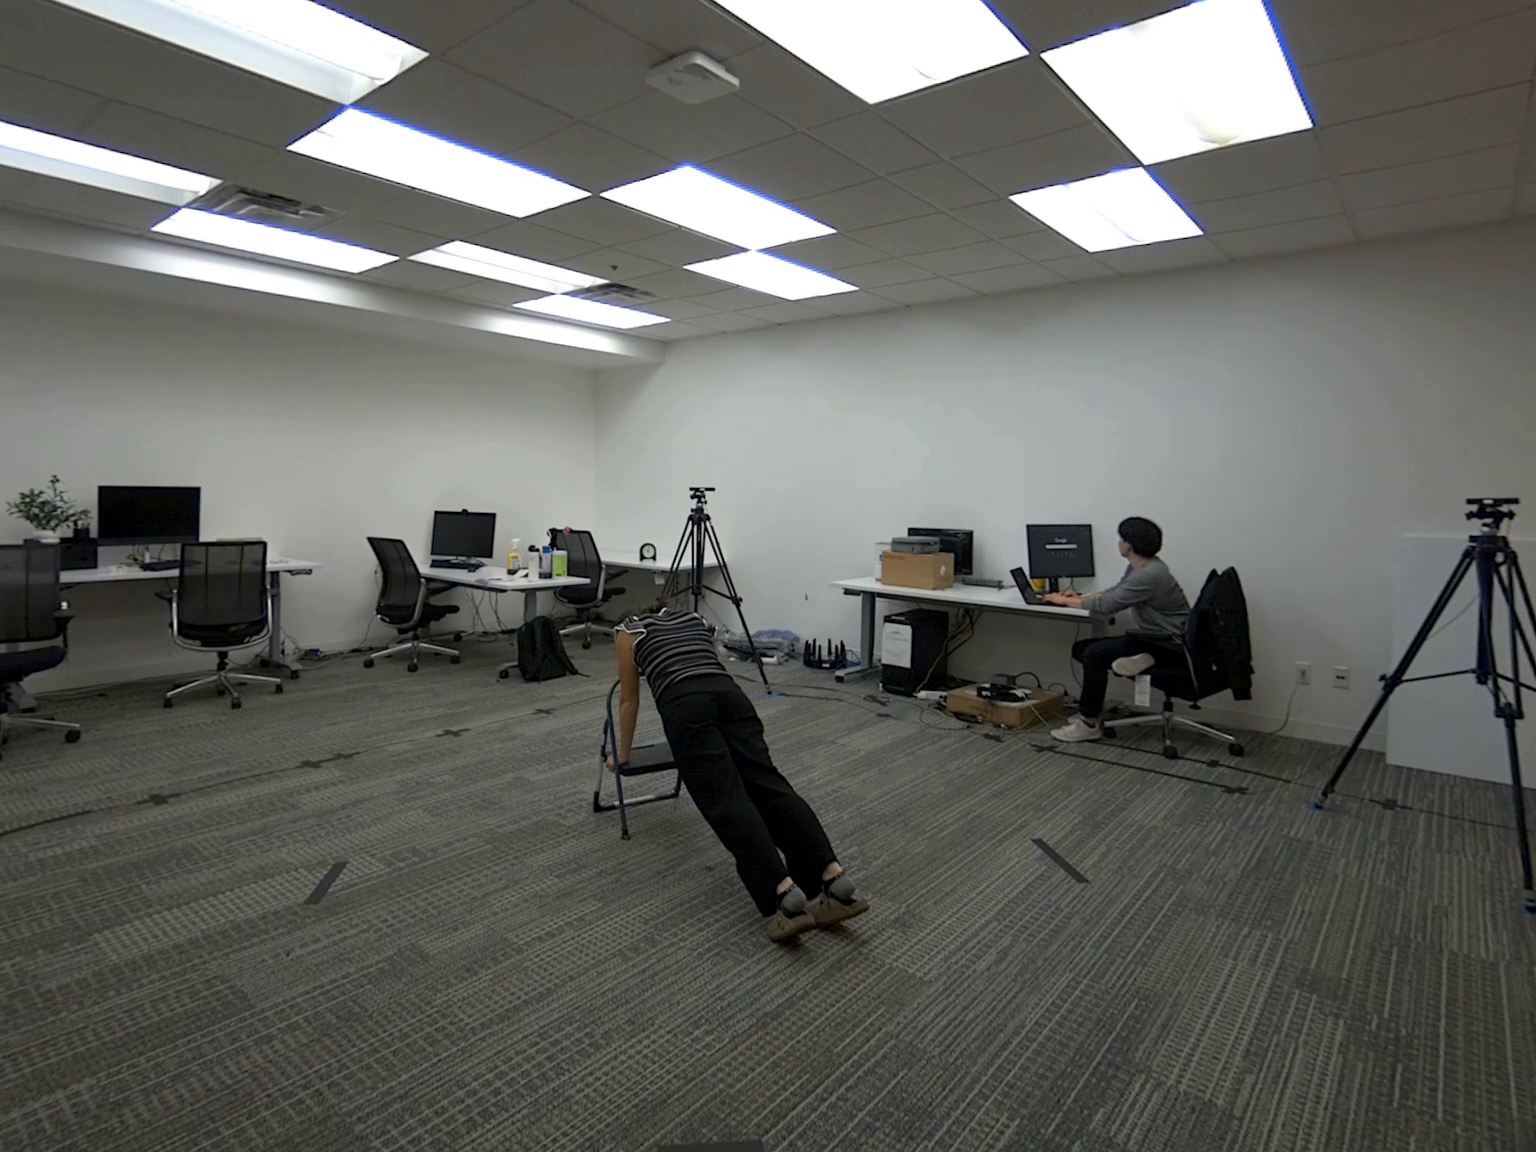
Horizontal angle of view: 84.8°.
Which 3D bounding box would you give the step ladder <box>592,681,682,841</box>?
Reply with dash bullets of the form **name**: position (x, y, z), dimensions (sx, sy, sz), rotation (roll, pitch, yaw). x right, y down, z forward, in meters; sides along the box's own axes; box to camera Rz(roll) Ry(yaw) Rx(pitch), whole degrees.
- **step ladder**: position (-0.496, 0.713, 3.593), dimensions (0.418, 0.605, 0.360), rotation (-1, 3, -33)
